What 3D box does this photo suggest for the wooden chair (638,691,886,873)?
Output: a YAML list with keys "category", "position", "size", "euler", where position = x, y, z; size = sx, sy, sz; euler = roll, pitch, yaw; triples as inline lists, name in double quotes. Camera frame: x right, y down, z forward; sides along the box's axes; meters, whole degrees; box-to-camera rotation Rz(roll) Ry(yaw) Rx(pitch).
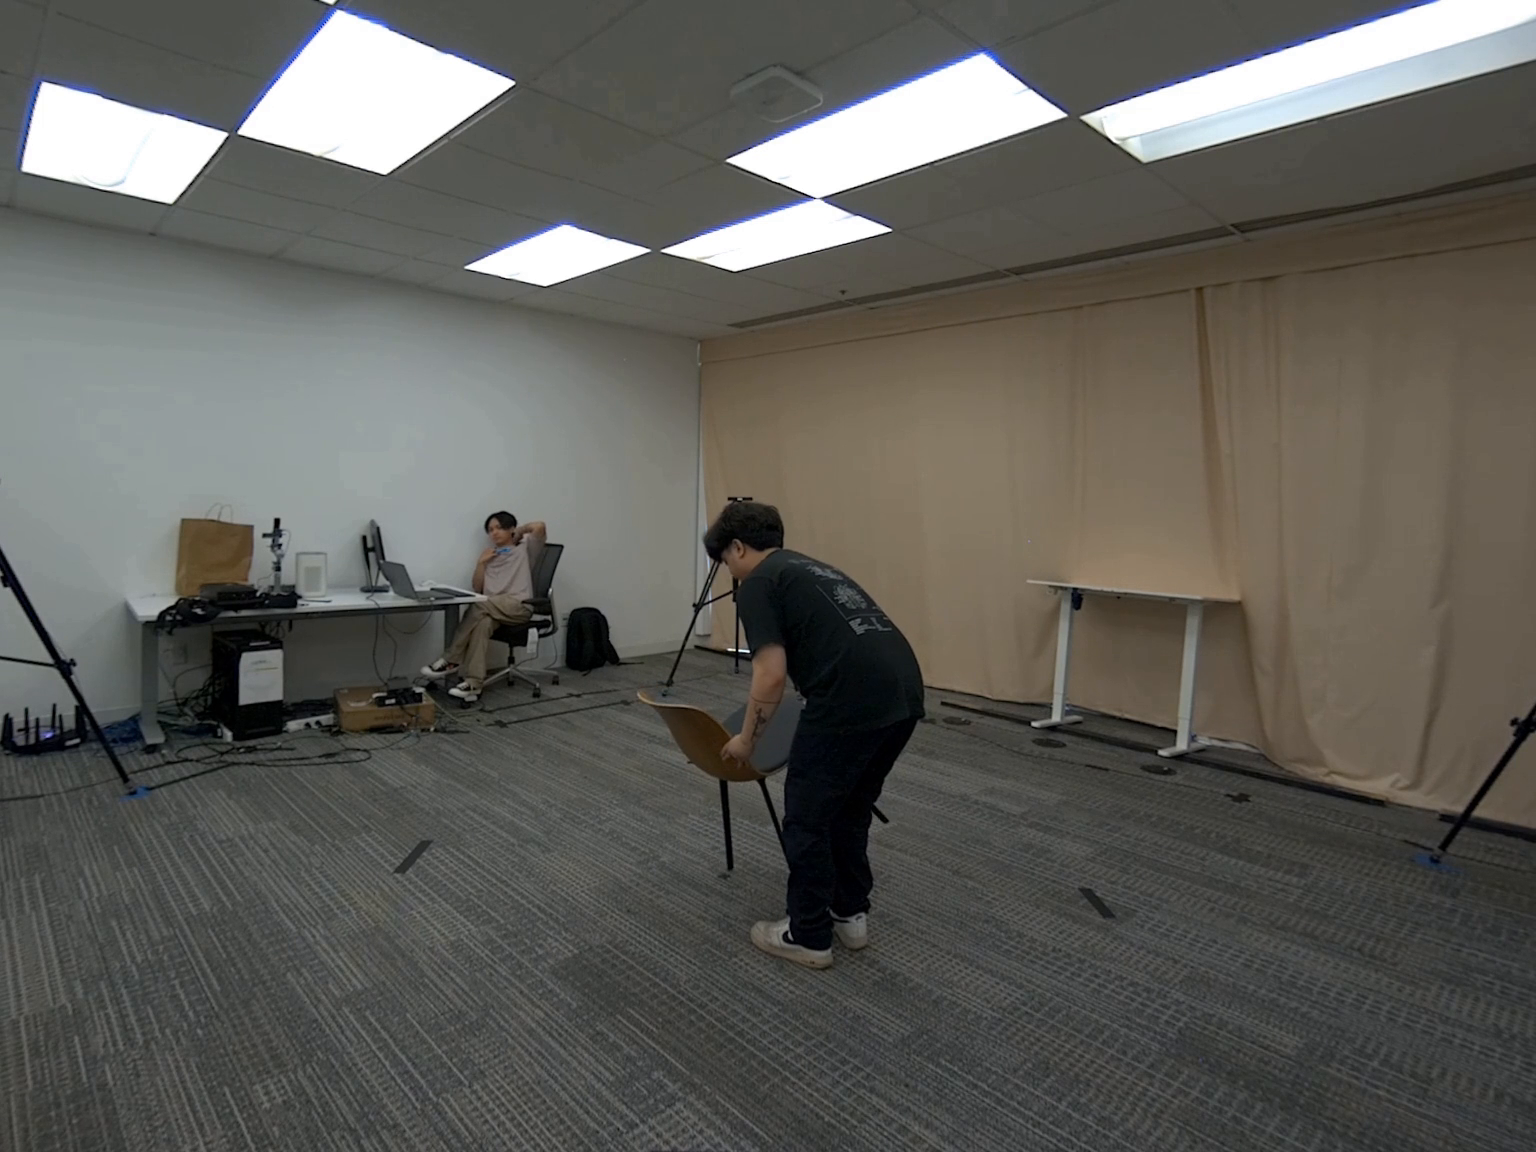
- category: "wooden chair"
  position: [-0.026, 0.627, 2.983]
  size: [0.521, 0.861, 0.489]
  euler: [-39, 22, -30]
